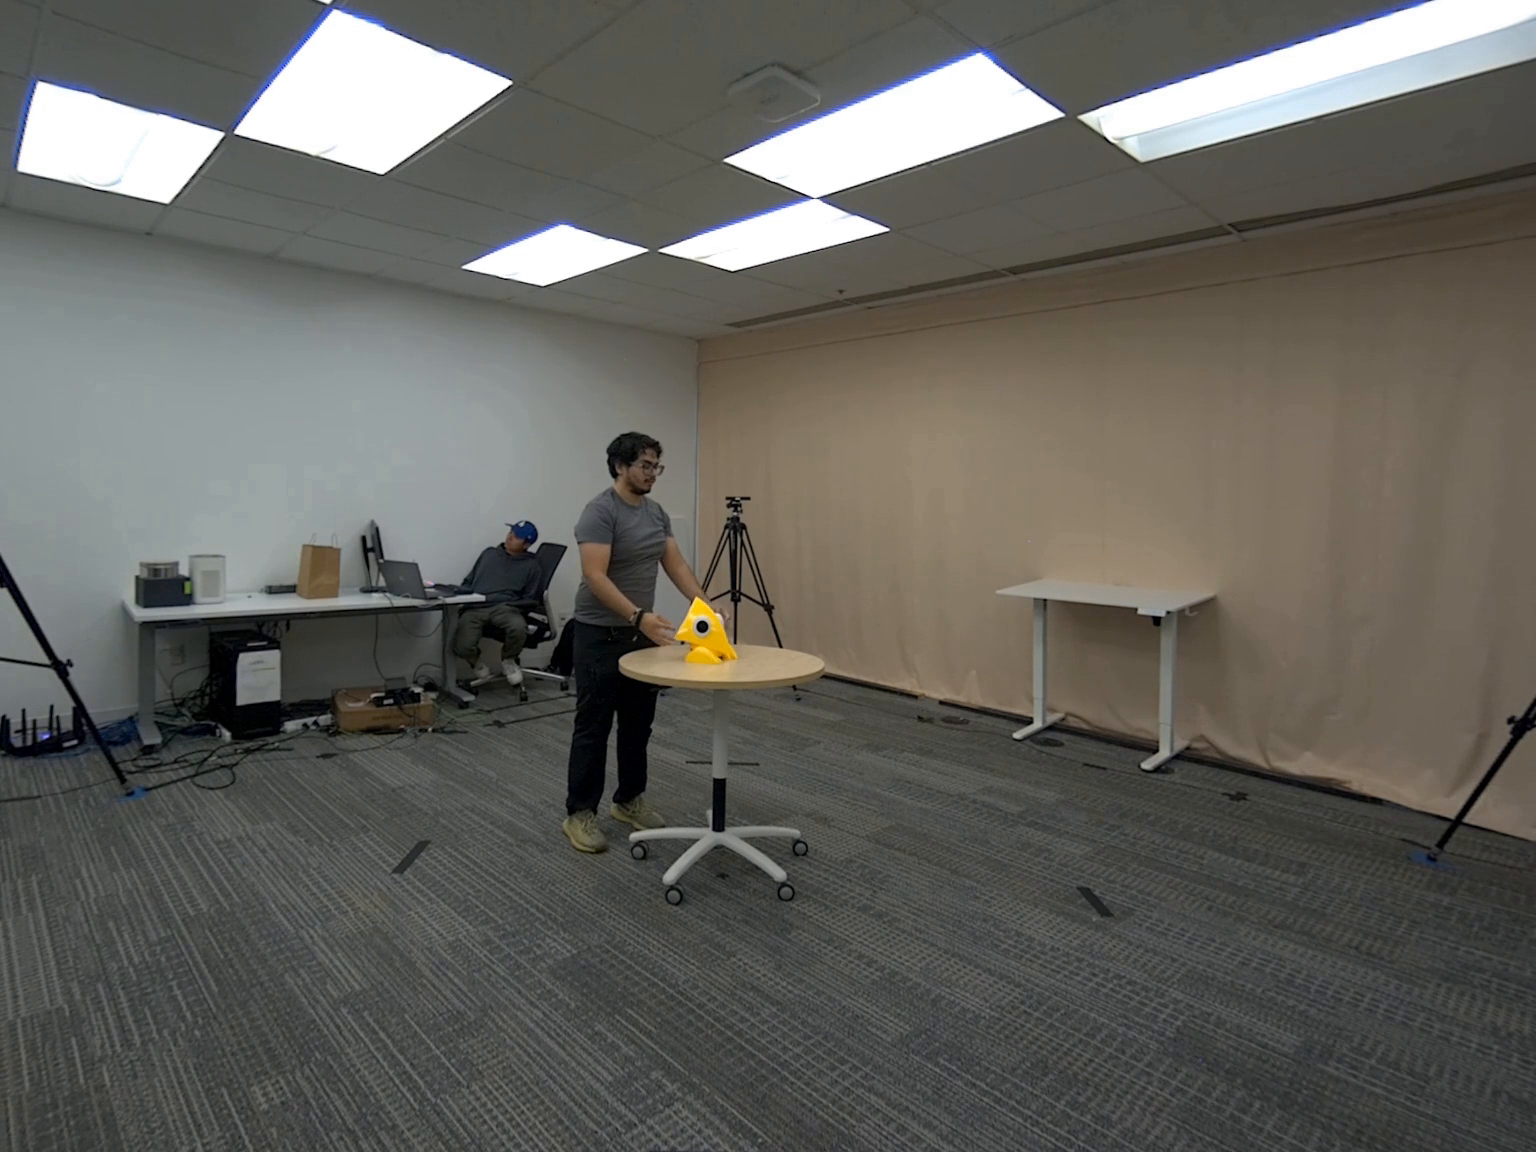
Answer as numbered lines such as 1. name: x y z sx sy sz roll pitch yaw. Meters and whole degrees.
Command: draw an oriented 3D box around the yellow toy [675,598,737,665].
1. yellow toy: -0.230 0.200 3.179 0.197 0.230 0.201 4 4 31
